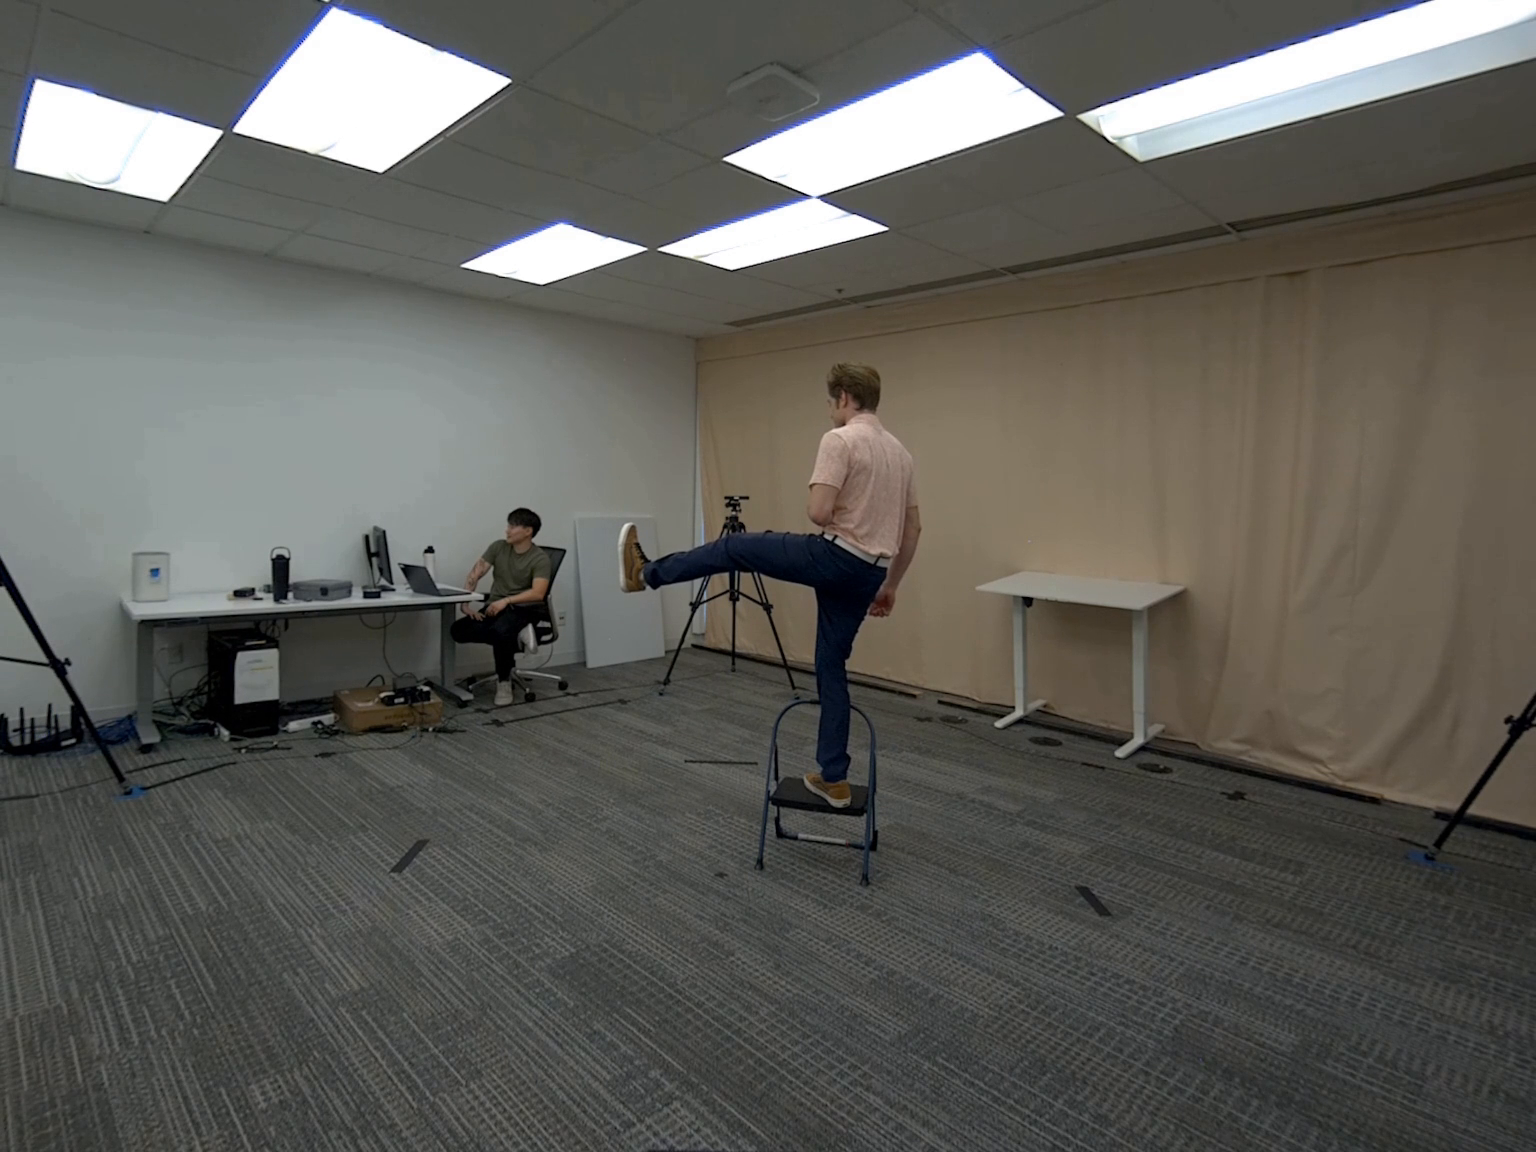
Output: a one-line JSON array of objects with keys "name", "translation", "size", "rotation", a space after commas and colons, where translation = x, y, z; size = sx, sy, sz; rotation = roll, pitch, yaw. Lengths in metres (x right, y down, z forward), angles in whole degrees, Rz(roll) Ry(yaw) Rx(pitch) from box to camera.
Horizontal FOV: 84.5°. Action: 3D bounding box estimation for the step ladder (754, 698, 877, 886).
[{"name": "step ladder", "translation": [0.201, 0.799, 3.250], "size": [0.436, 0.605, 0.346], "rotation": [2, 3, 15]}]
